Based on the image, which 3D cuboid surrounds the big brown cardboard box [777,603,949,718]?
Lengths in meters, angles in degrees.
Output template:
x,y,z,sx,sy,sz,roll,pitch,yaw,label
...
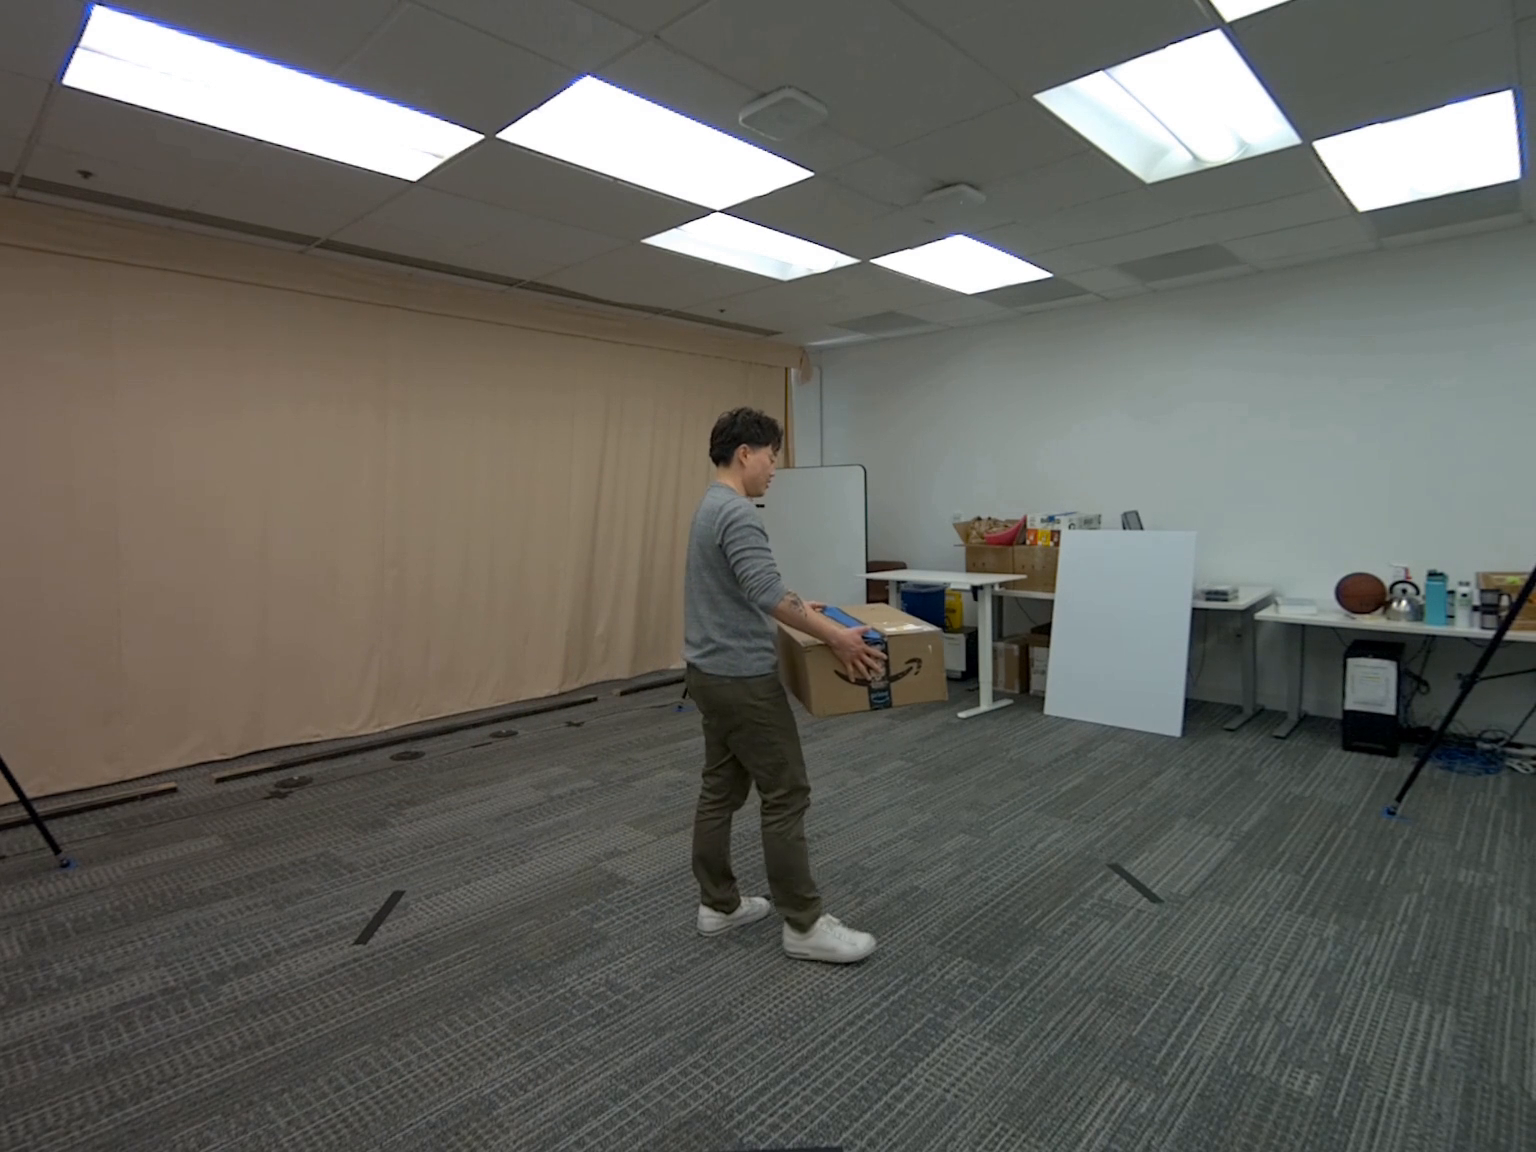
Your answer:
x,y,z,sx,sy,sz,roll,pitch,yaw,label
0.275,0.253,2.744,0.414,0.232,0.596,-7,6,-9,big brown cardboard box
